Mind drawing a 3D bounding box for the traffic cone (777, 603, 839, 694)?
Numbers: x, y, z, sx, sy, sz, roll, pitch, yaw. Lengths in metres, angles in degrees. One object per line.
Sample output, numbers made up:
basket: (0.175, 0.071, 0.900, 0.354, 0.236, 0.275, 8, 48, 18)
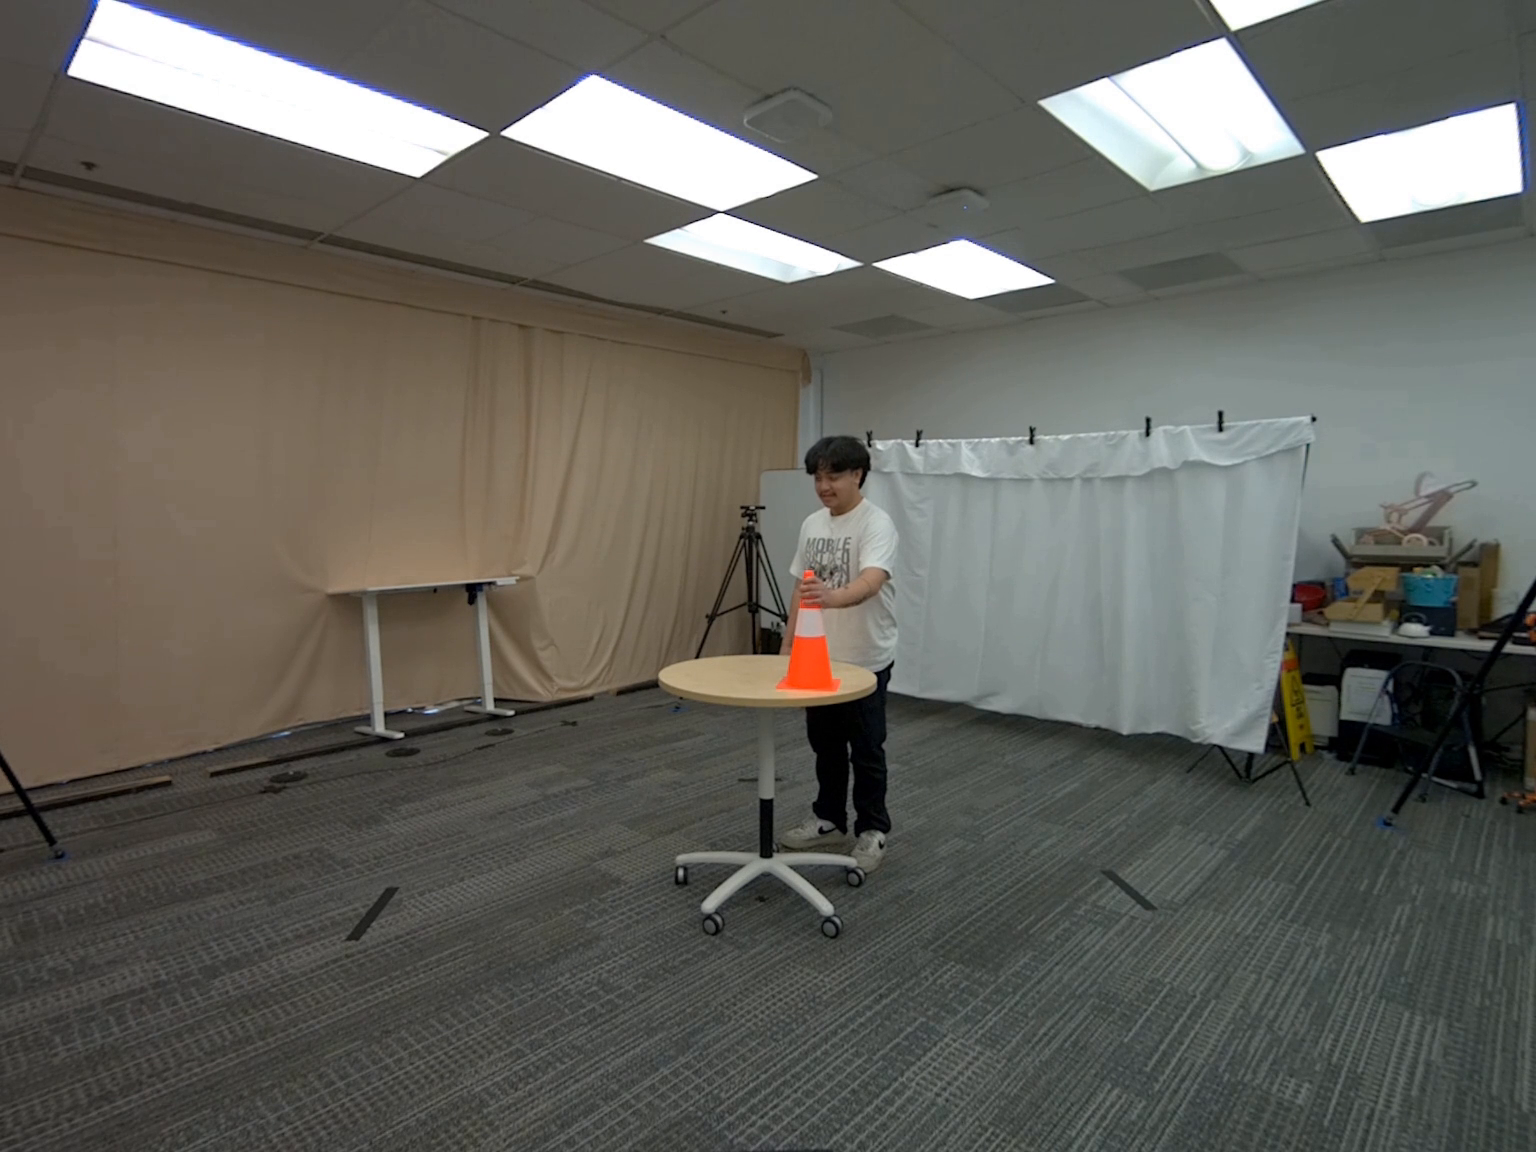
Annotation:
traffic cone: (0.141, 0.177, 2.806, 0.207, 0.383, 0.201, 0, 3, 11)
